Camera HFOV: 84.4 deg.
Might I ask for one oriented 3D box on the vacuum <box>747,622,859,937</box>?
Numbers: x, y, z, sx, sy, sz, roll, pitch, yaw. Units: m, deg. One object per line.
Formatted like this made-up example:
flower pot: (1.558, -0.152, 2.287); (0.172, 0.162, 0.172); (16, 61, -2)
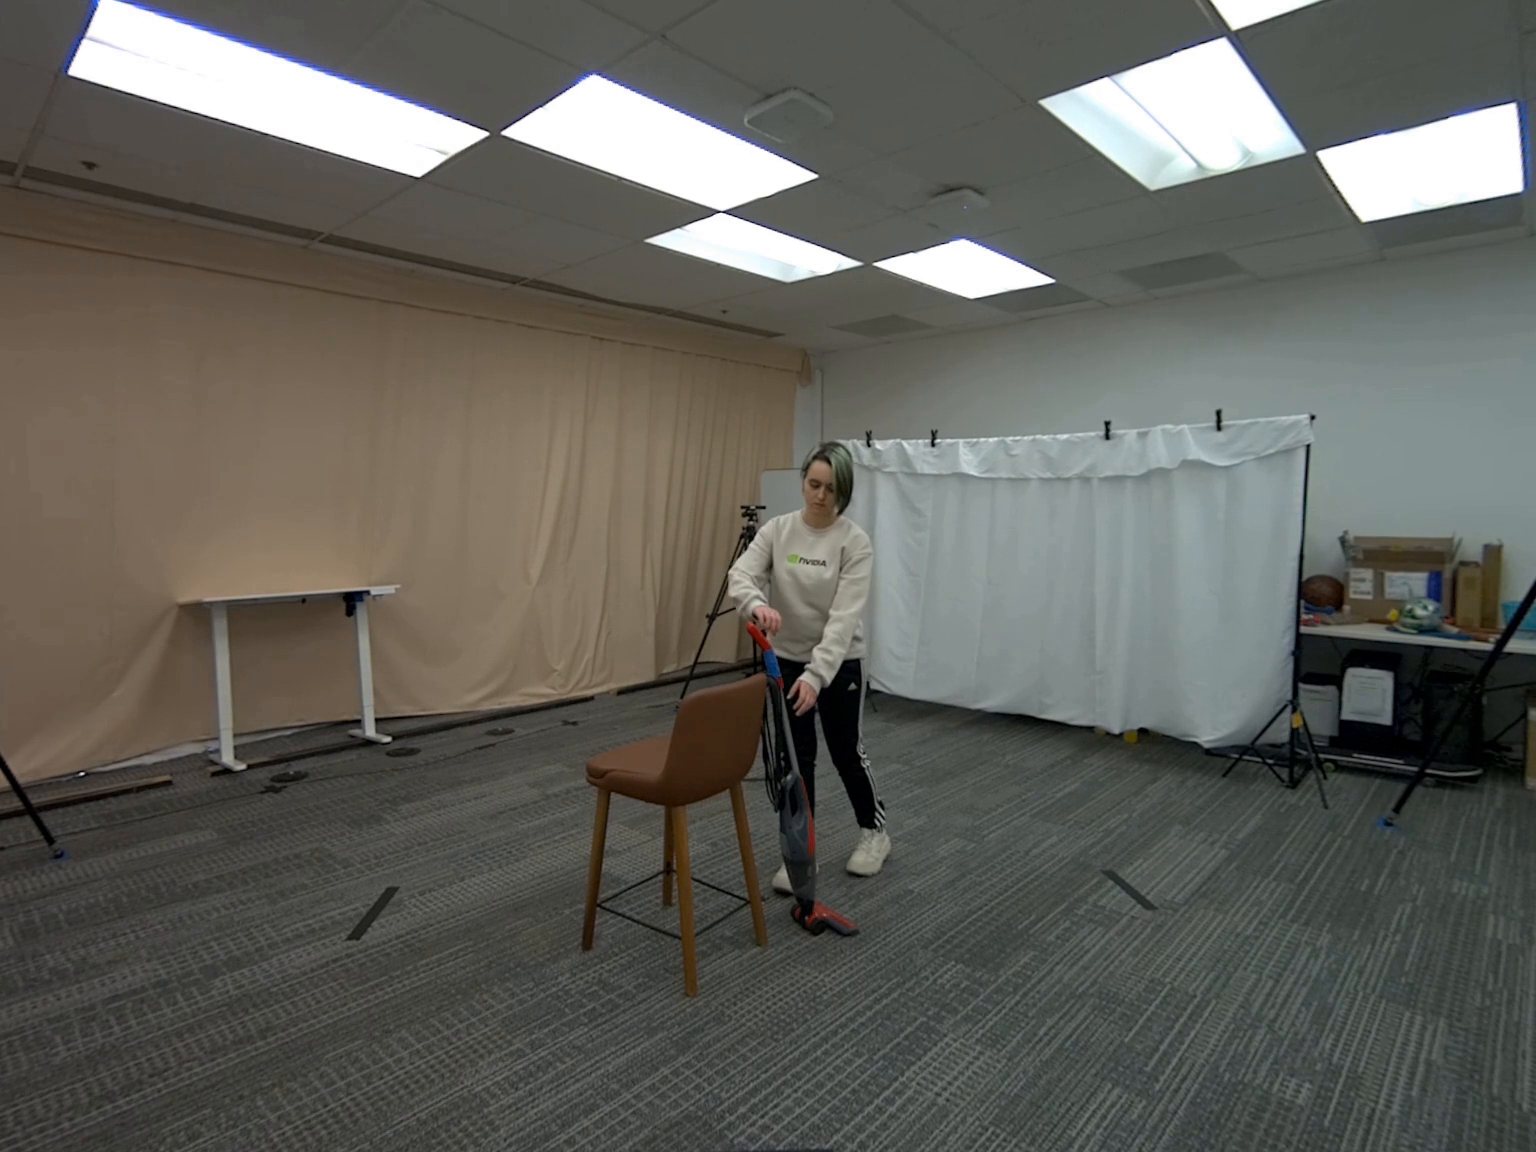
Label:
vacuum: (0.063, 0.661, 2.726); (0.141, 1.041, 0.260); (-18, 11, -35)
